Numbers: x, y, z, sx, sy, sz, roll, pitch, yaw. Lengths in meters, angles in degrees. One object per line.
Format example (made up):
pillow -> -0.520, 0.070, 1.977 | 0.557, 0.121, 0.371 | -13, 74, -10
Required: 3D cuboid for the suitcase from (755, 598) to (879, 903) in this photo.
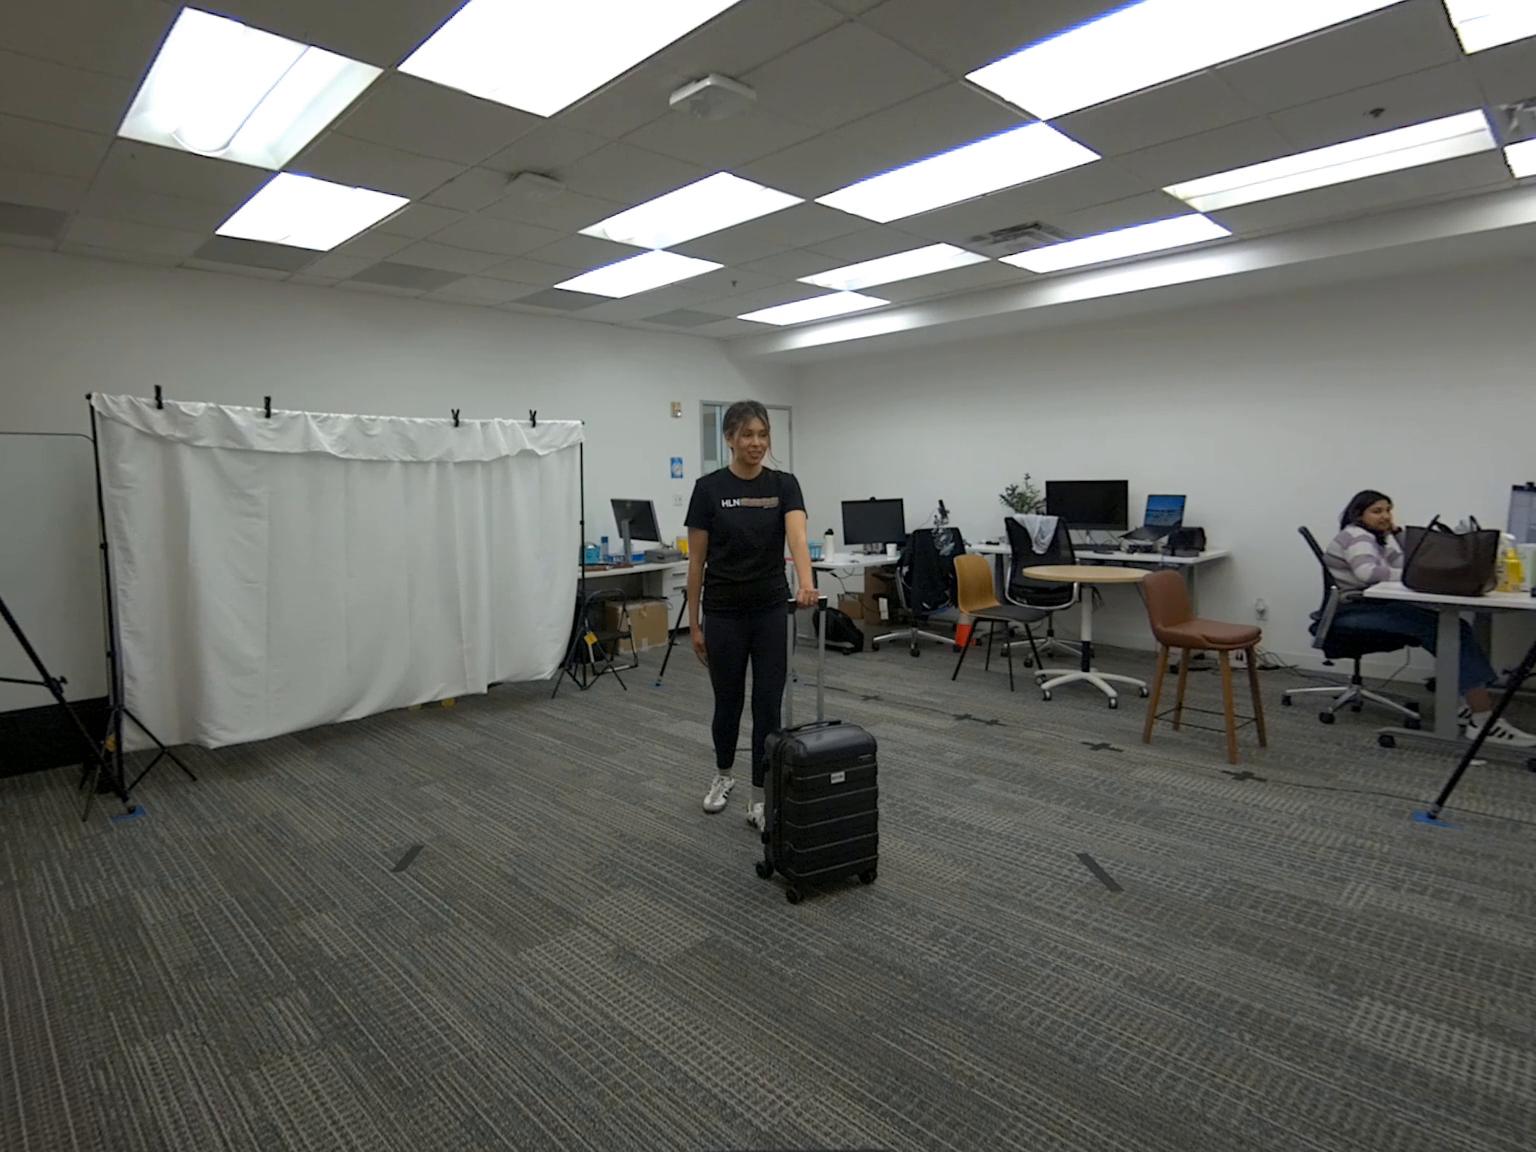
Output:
suitcase -> 0.187, 0.589, 2.934 | 0.376, 0.974, 0.264 | -2, 5, -26
